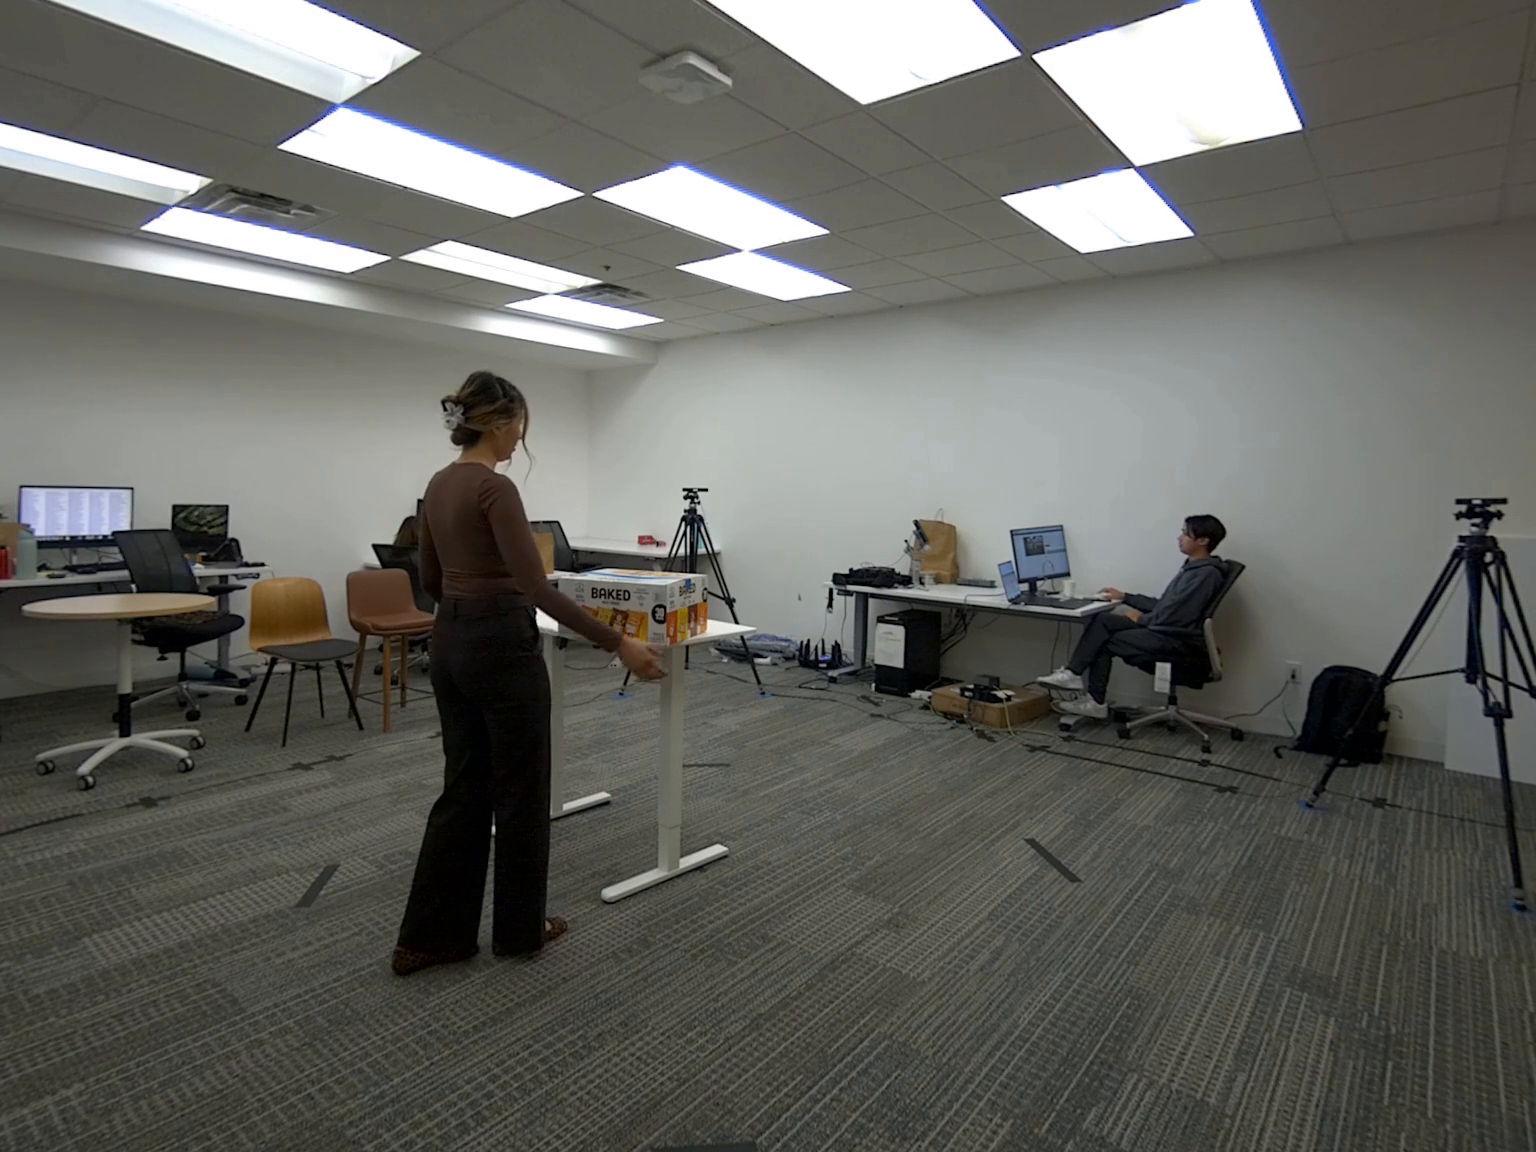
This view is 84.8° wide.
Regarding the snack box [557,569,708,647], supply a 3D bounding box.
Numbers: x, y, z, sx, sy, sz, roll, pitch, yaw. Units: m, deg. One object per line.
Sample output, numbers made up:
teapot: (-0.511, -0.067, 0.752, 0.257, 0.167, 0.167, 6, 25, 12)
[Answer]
snack box: (-0.471, 0.099, 2.944, 0.414, 0.205, 0.334, 3, 5, 21)
